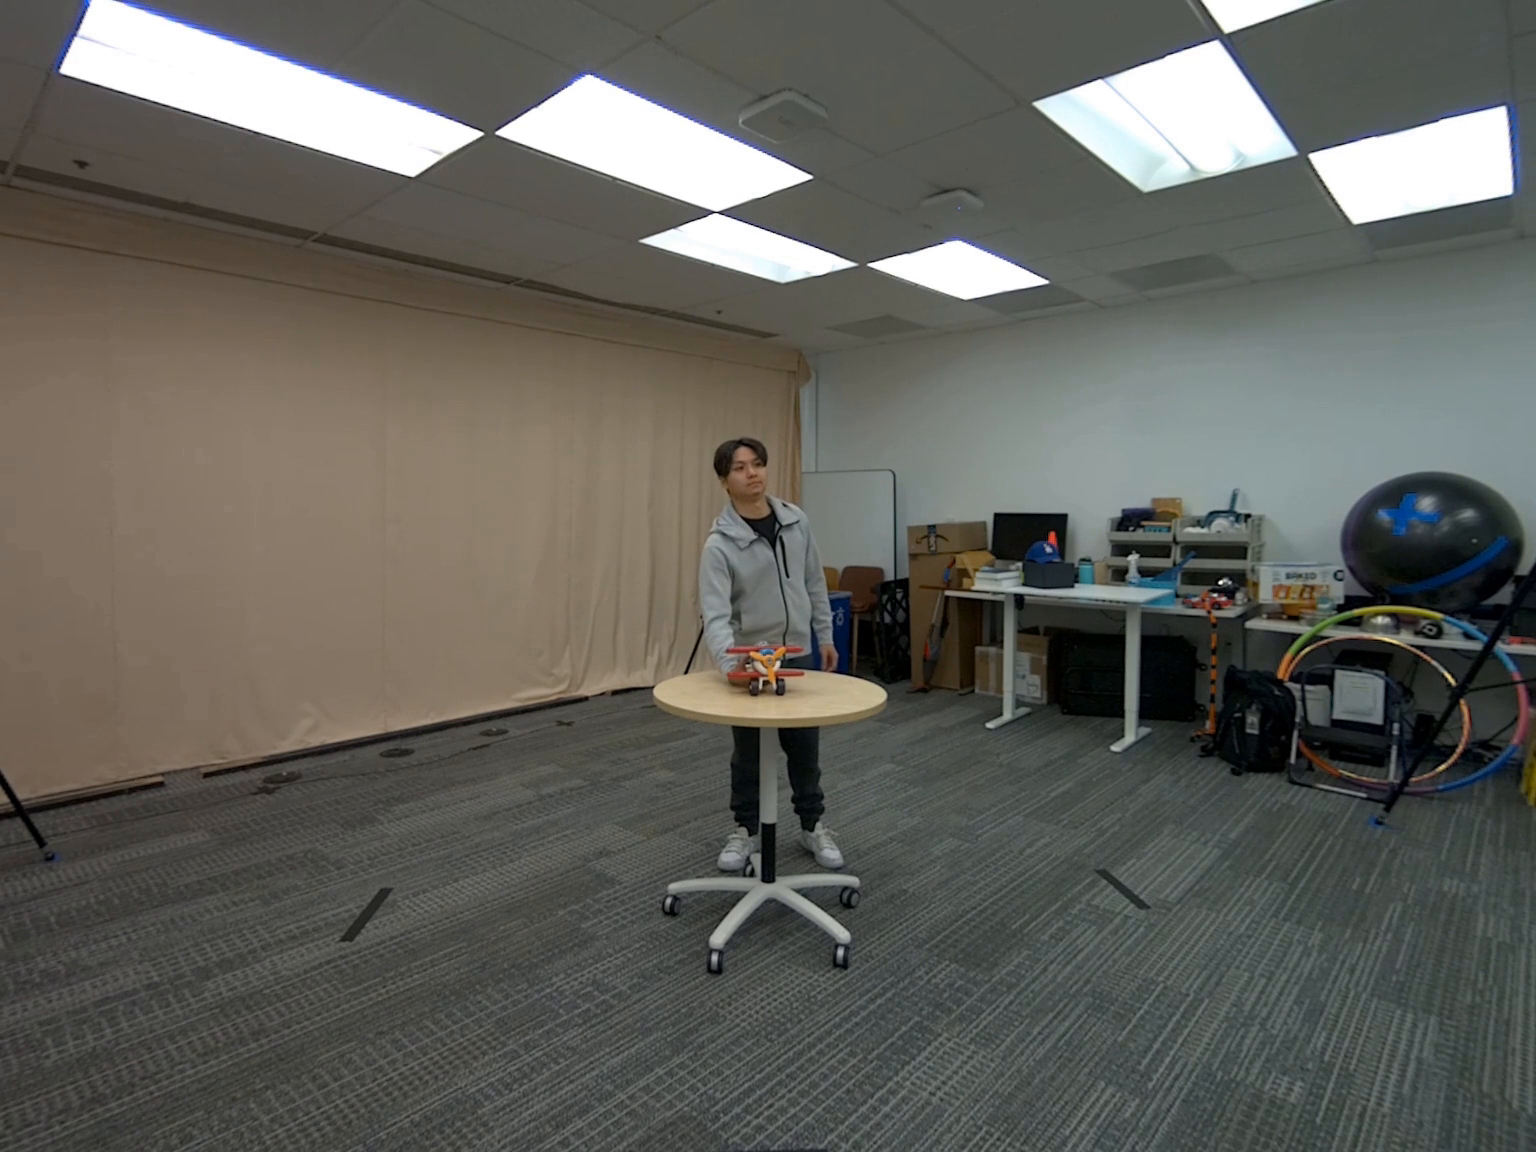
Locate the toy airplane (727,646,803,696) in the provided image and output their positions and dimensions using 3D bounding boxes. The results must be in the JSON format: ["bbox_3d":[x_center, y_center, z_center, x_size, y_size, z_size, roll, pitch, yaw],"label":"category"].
[{"bbox_3d":[-0.036,0.295,2.784,0.244,0.156,0.268,-4,7,-36],"label":"toy airplane"}]
